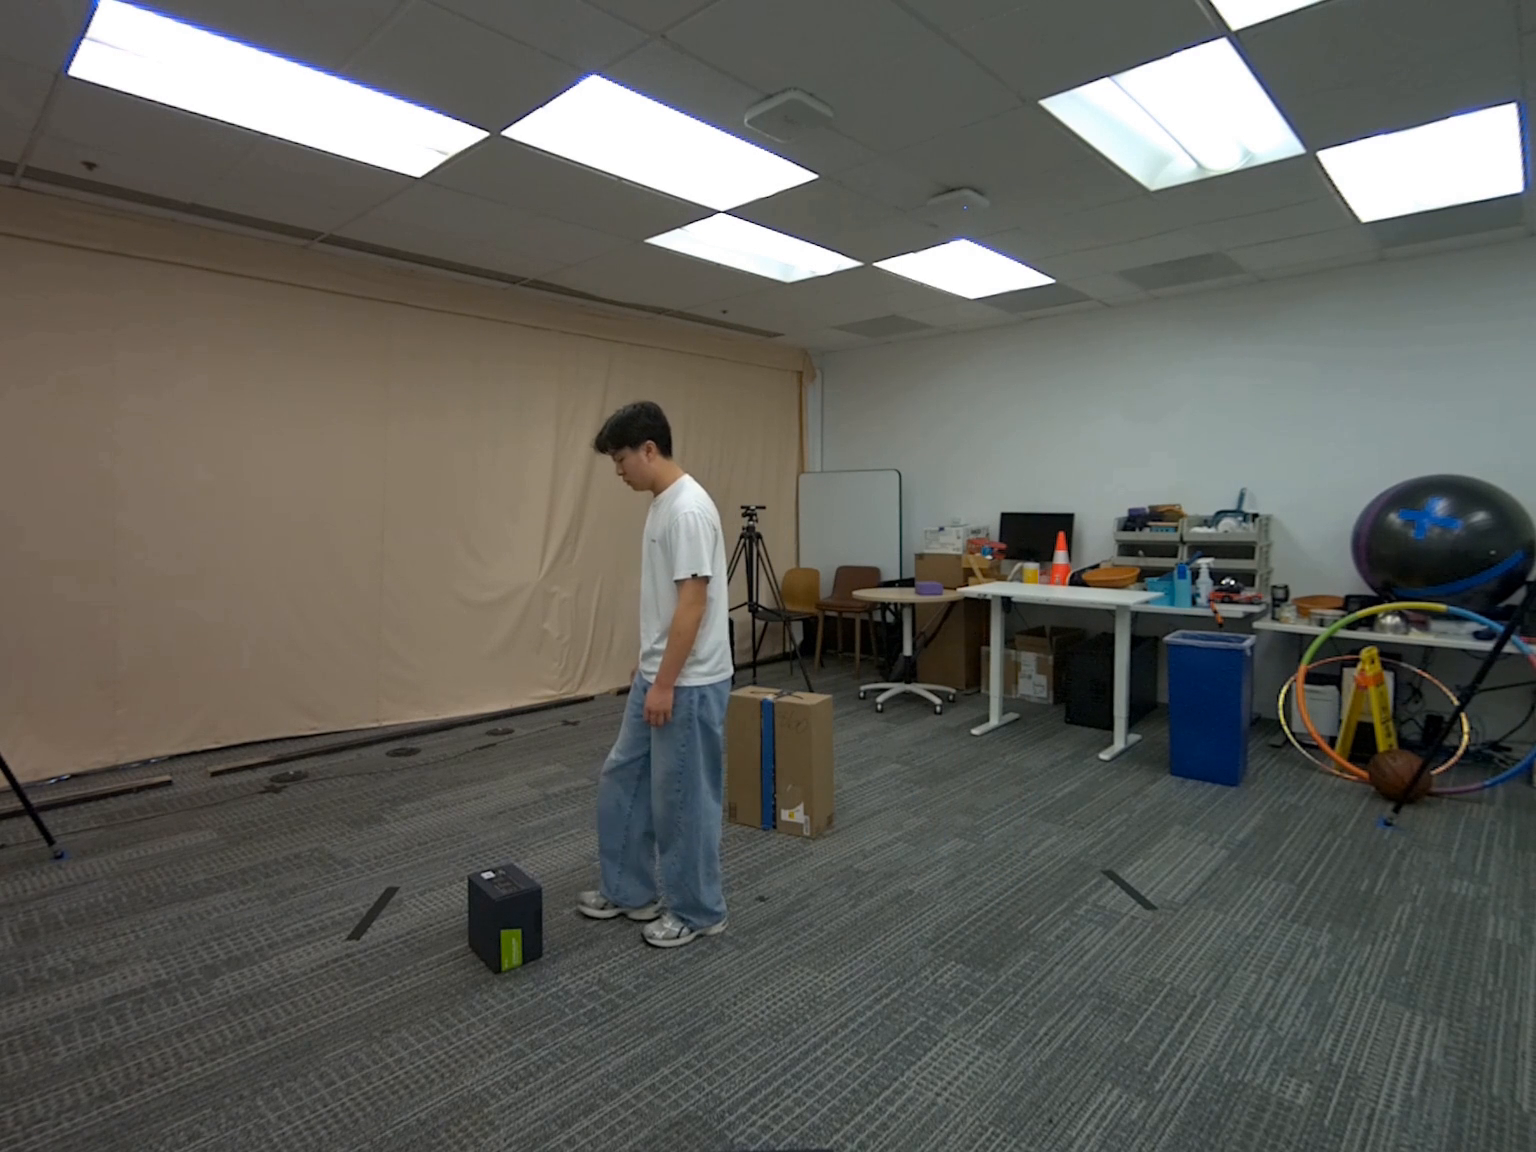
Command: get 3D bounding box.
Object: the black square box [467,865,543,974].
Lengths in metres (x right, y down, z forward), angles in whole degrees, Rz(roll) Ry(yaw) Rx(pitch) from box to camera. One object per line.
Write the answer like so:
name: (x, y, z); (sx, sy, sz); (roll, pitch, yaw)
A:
black square box: (-0.824, 1.064, 2.629); (0.151, 0.227, 0.224); (-2, 4, -40)
